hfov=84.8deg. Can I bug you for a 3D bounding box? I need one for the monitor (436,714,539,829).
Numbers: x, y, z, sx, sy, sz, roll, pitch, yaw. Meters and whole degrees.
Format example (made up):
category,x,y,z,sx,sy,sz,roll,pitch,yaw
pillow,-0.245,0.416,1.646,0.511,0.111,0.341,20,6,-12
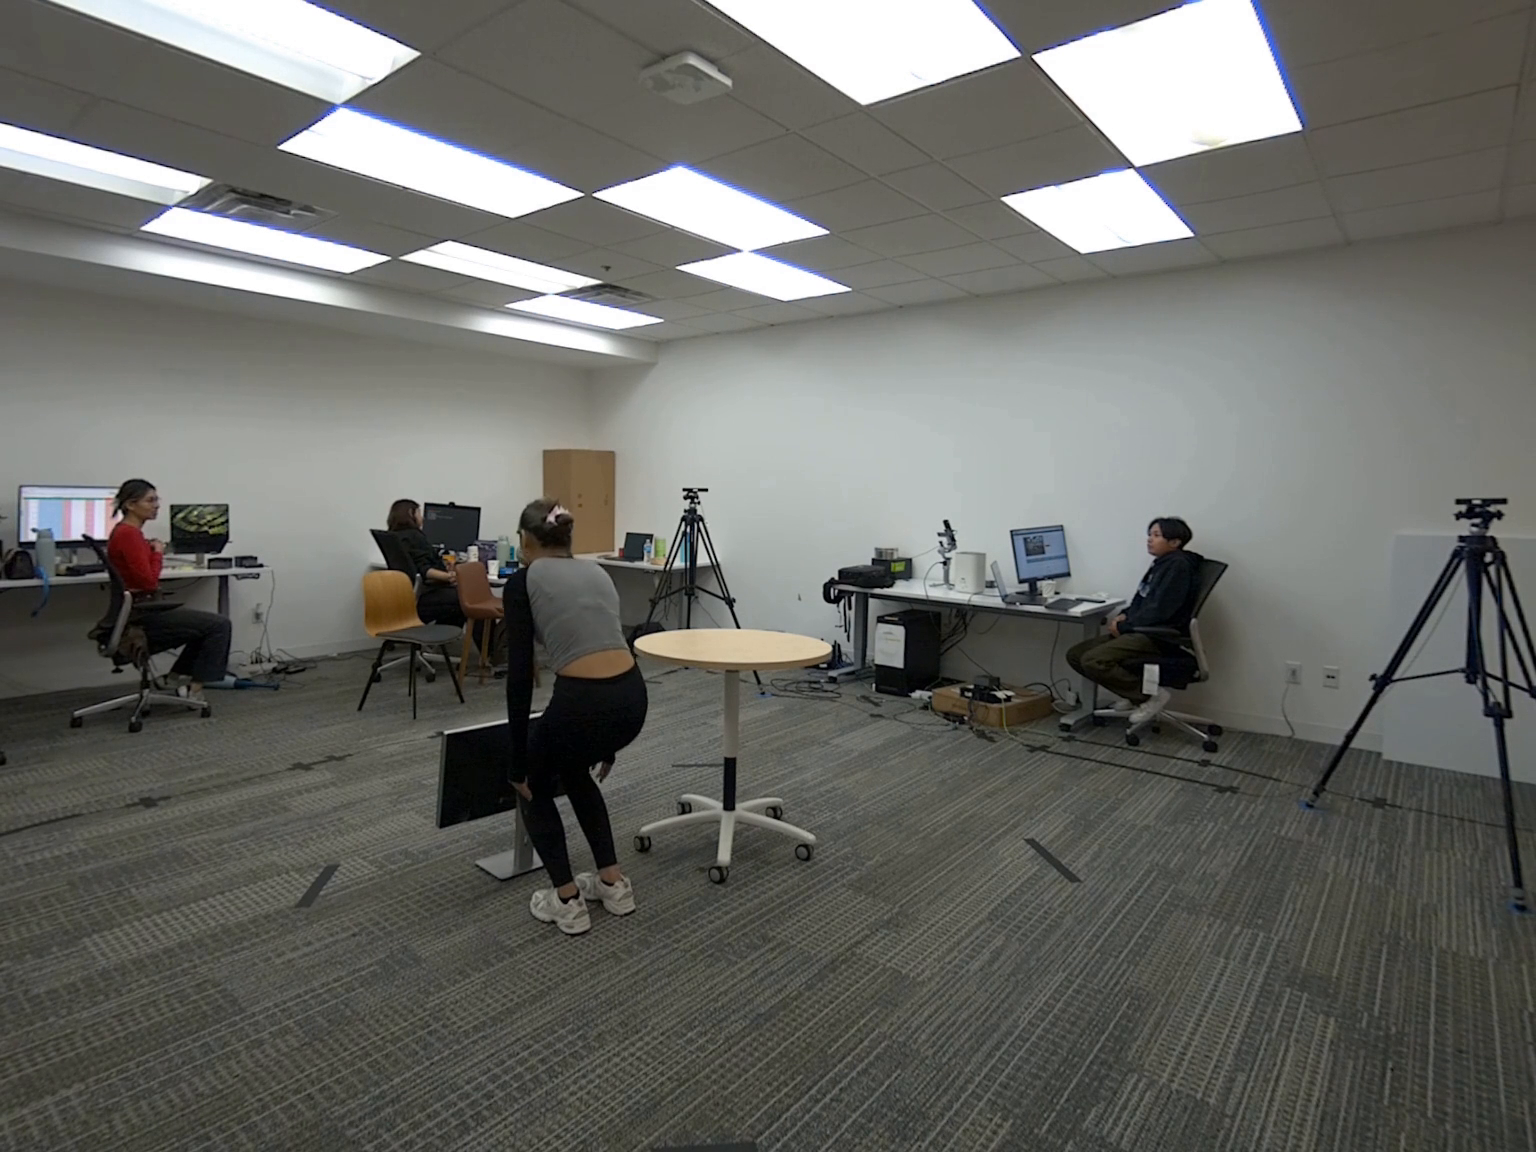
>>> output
category,x,y,z,sx,sy,sz,roll,pitch,yaw
monitor,-0.940,0.795,3.114,0.193,0.522,0.523,0,2,43
